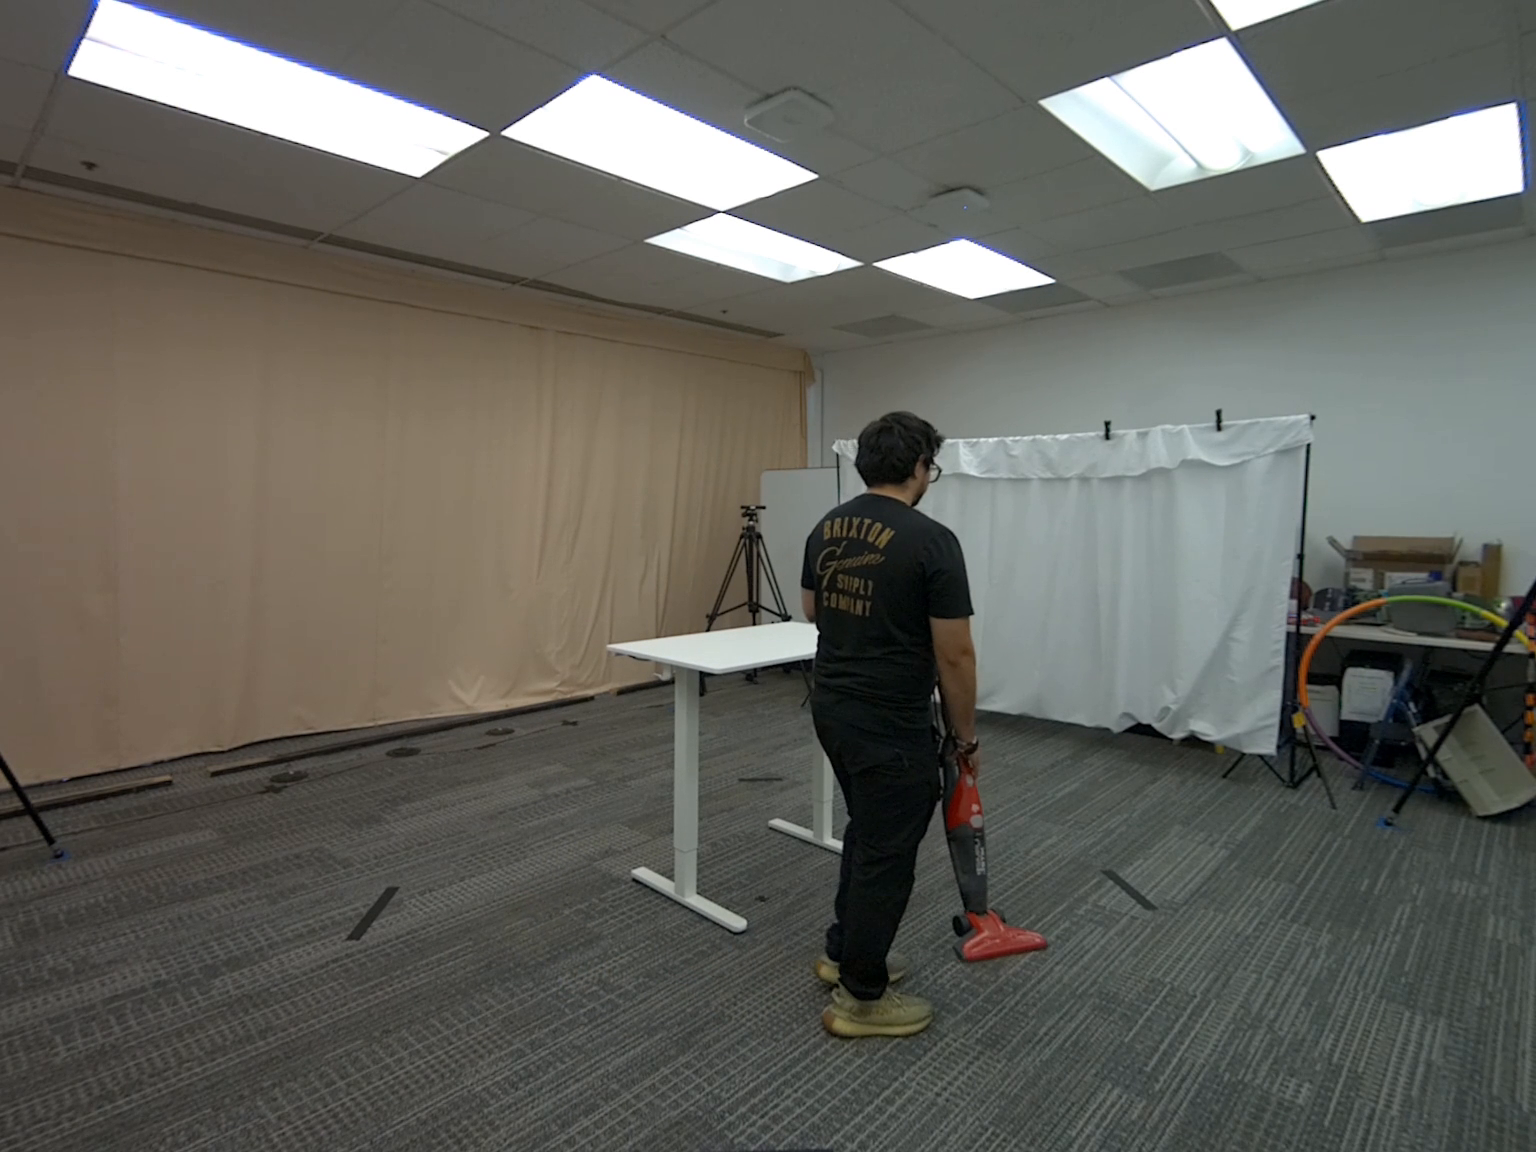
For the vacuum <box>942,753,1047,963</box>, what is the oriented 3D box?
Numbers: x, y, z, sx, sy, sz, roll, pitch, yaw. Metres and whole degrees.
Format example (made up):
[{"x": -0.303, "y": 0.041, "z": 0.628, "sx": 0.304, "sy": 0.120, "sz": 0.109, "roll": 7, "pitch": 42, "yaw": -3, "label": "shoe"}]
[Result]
[{"x": 0.522, "y": 0.443, "z": 2.316, "sx": 0.248, "sy": 1.064, "sz": 0.144, "roll": -1, "pitch": -20, "yaw": -16, "label": "vacuum"}]
